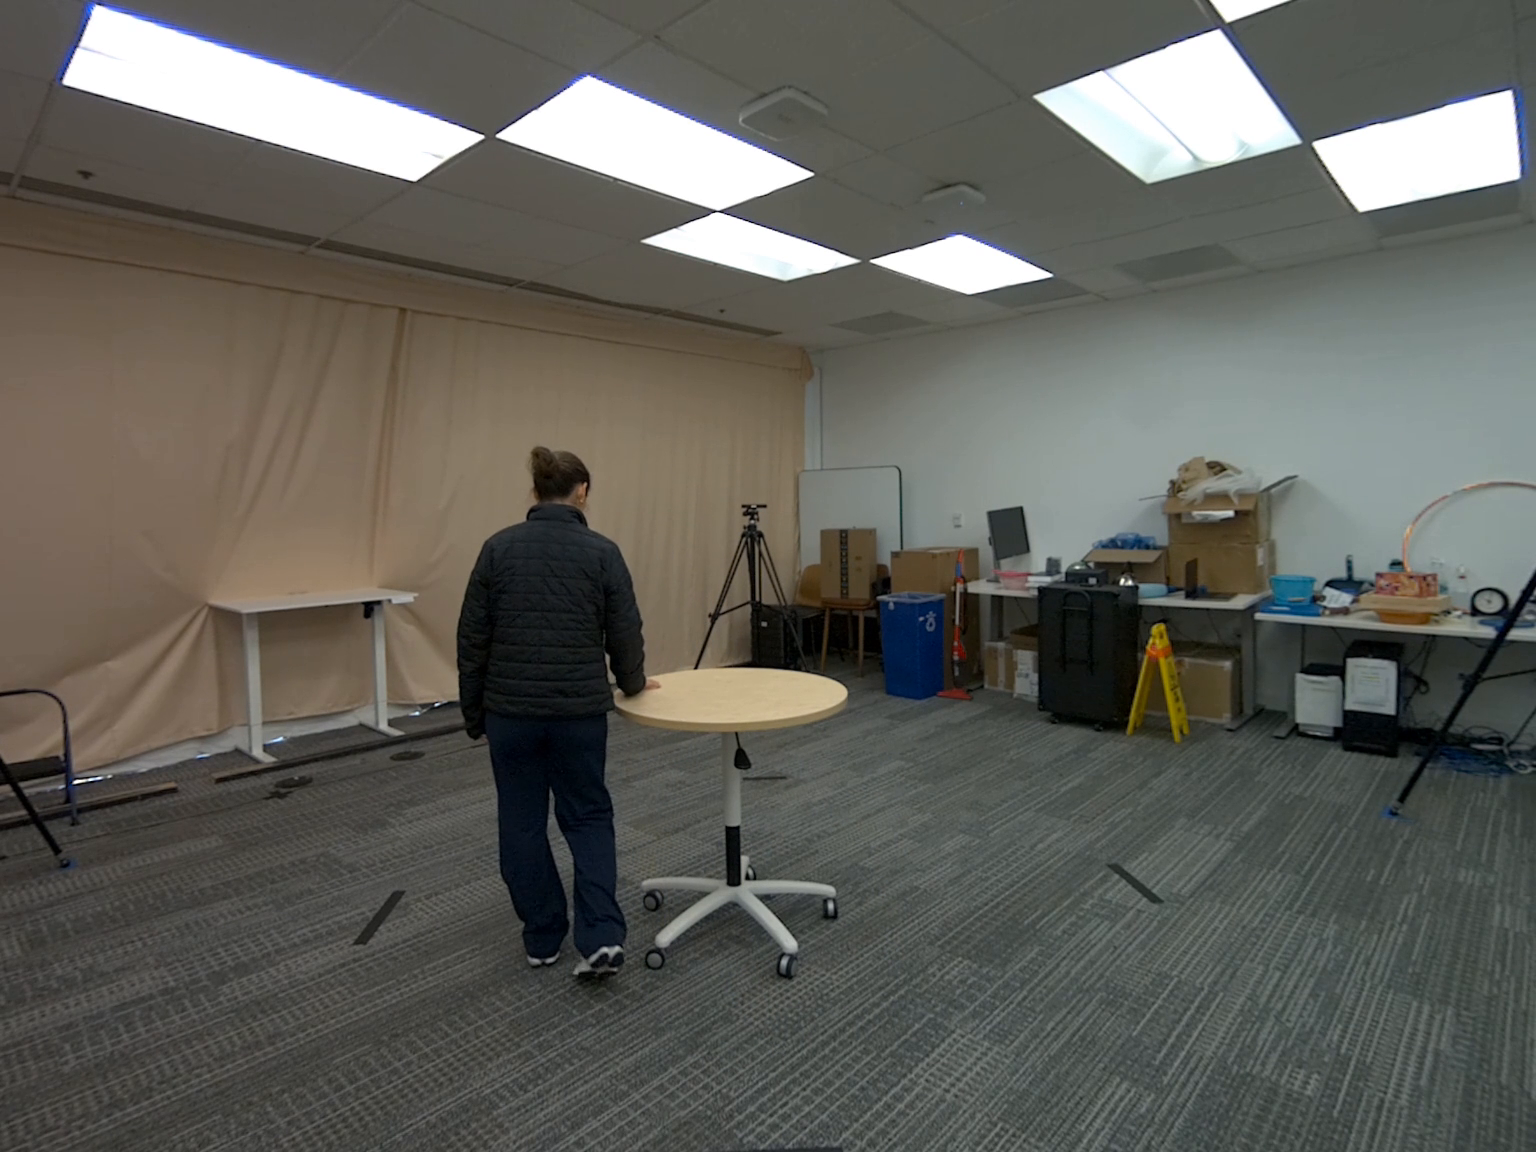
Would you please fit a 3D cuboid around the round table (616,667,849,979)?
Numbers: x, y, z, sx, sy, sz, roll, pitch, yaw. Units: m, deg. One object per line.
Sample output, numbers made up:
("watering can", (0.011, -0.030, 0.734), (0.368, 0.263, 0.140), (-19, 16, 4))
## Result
("round table", (-0.108, 0.764, 2.782), (0.784, 0.784, 0.788), (-1, 4, -2))
